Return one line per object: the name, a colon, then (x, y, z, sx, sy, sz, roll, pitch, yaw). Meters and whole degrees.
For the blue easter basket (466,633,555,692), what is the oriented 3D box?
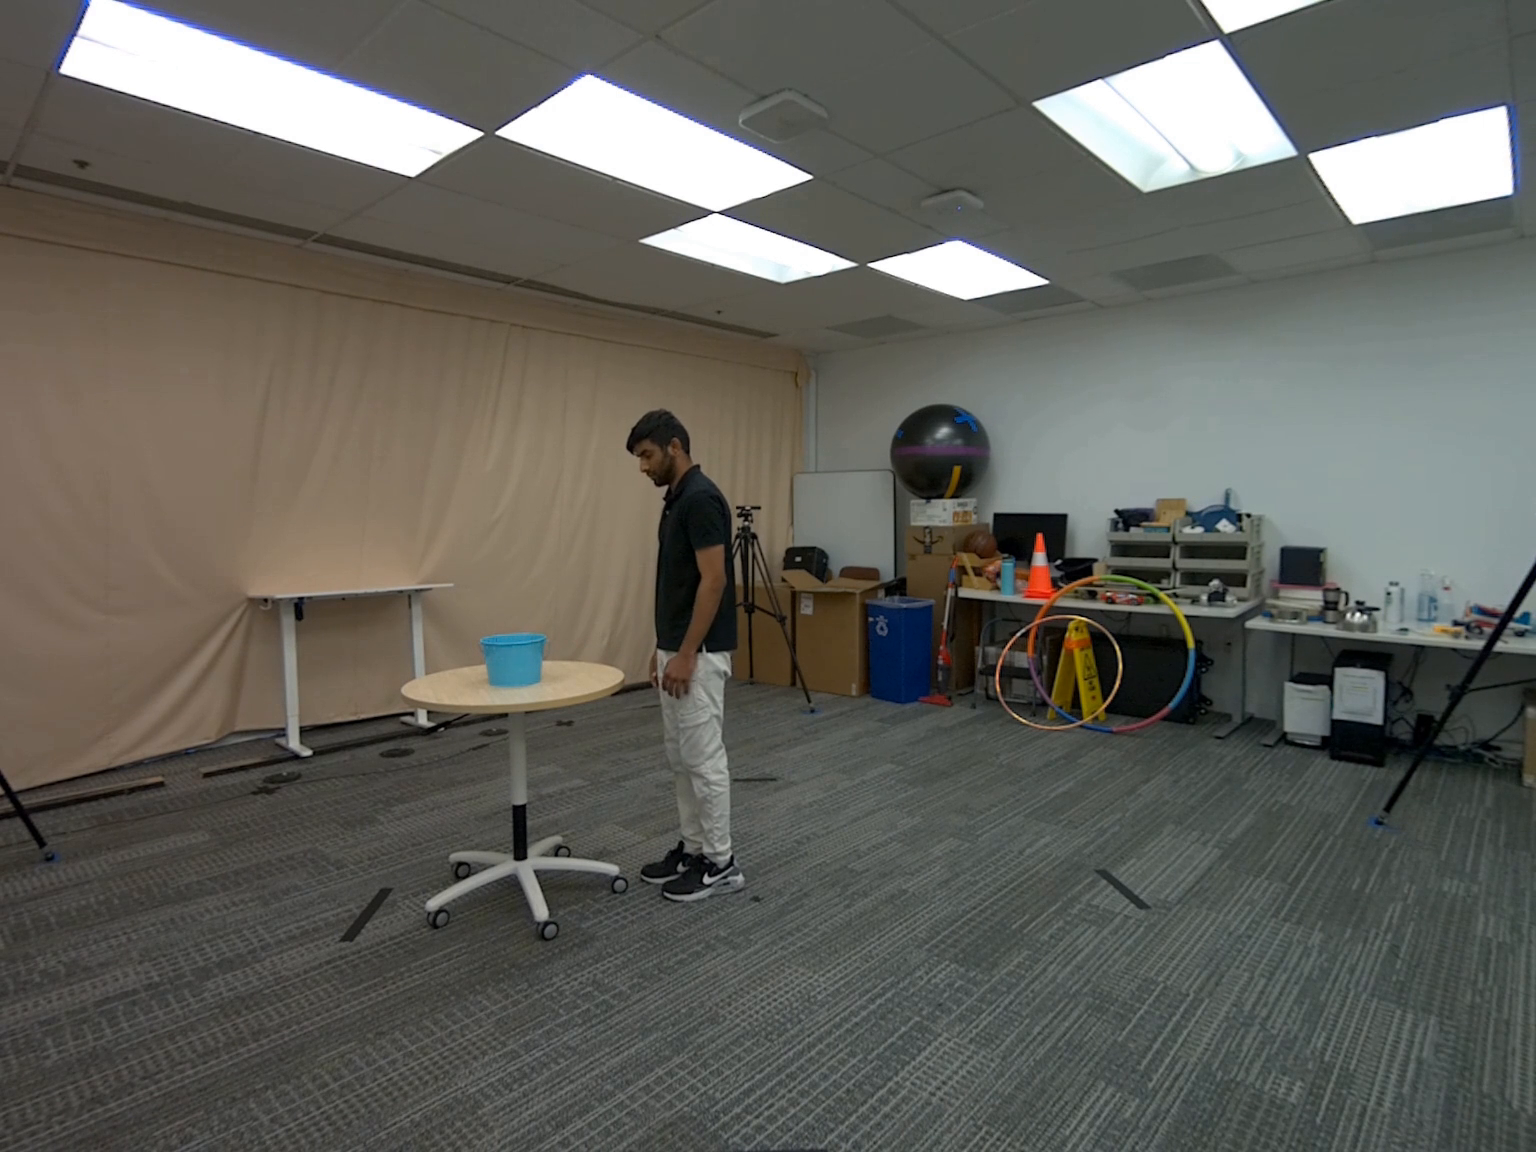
blue easter basket: (-0.895, 0.297, 2.961, 0.243, 0.155, 0.244, -1, 4, -2)
